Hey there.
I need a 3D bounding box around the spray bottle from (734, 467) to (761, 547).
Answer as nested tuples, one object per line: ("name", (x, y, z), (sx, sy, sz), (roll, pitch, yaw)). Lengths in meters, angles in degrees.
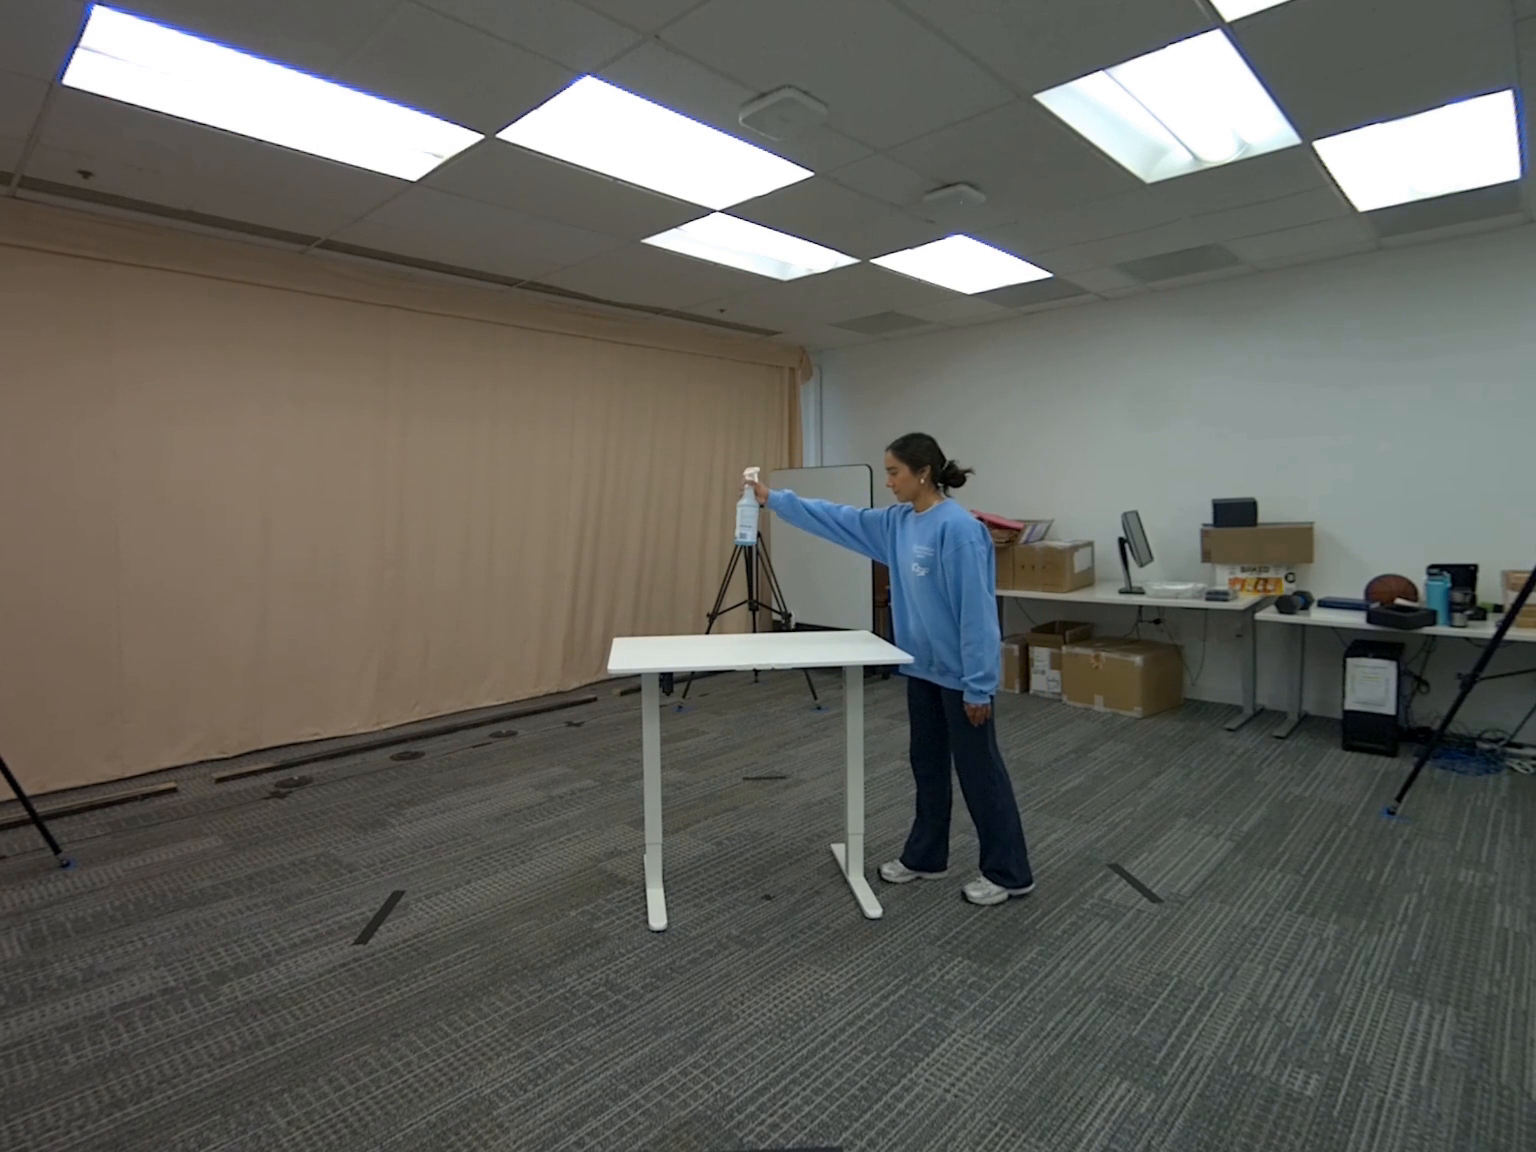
("spray bottle", (-0.066, -0.264, 3.228), (0.086, 0.296, 0.091), (4, 5, -11))
